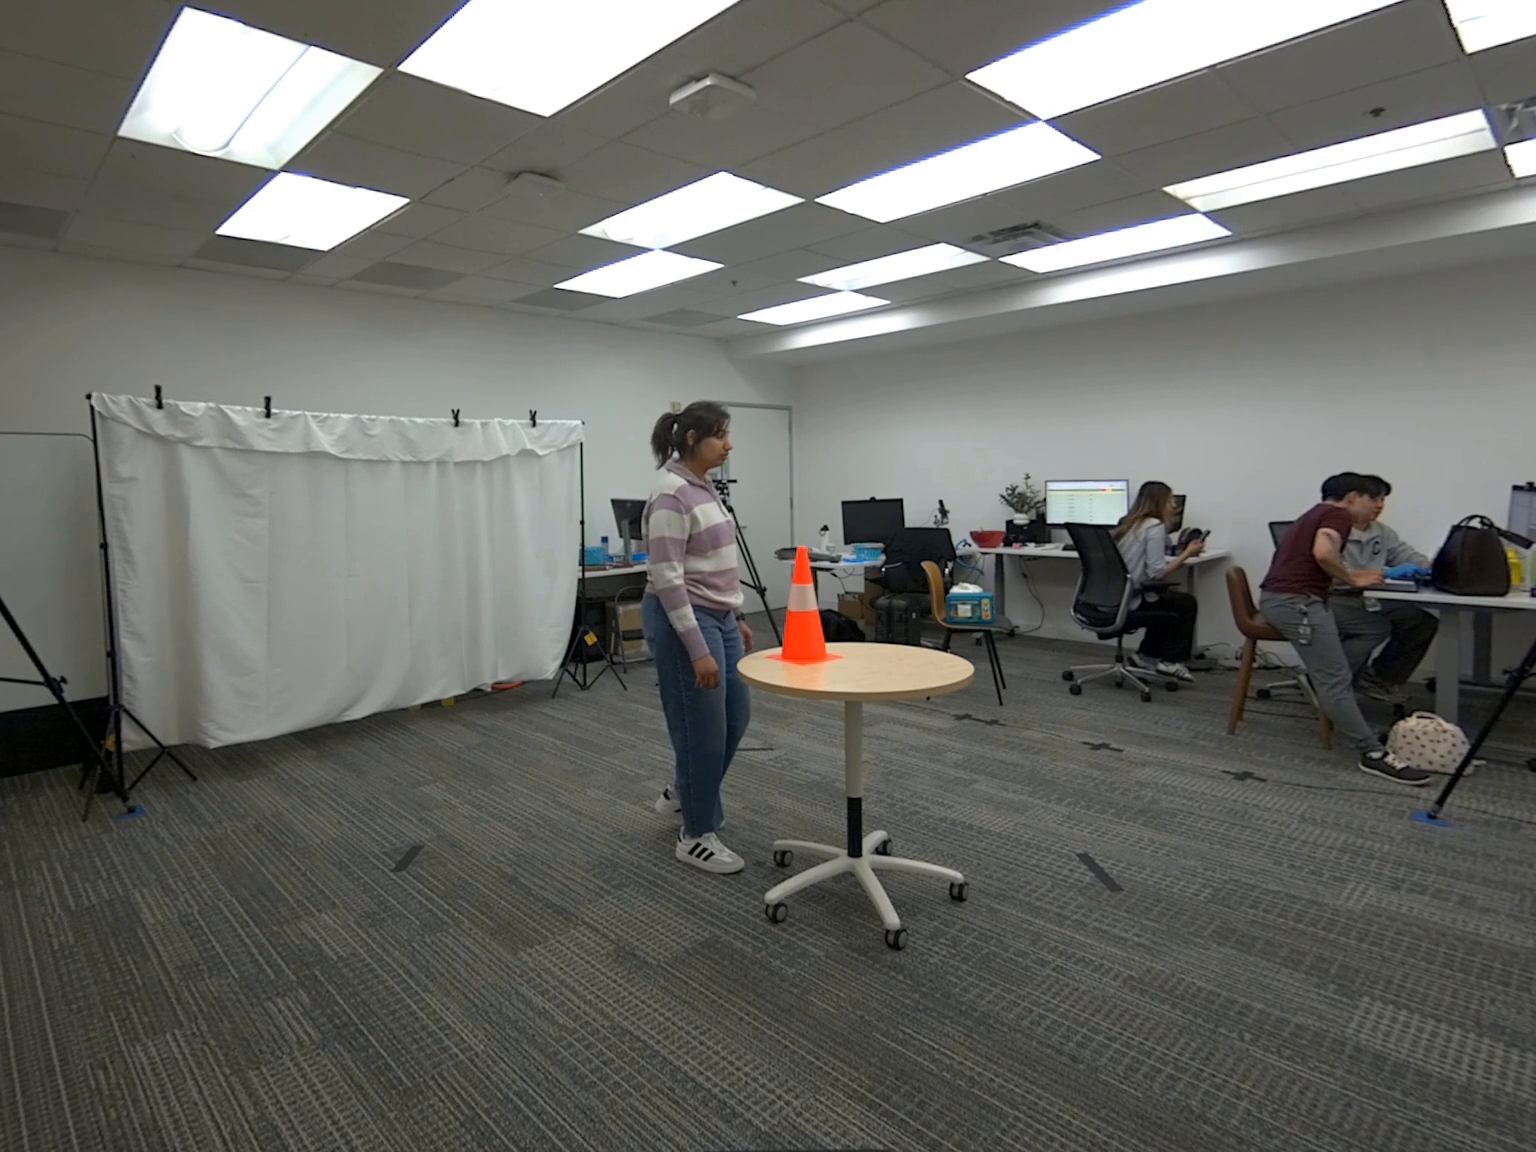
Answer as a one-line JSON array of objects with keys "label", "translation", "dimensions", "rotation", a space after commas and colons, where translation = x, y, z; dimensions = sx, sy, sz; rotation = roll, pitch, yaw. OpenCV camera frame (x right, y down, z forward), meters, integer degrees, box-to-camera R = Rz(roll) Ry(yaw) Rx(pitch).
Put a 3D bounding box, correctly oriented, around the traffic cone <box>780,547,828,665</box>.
[{"label": "traffic cone", "translation": [0.113, 0.091, 2.930], "dimensions": [0.211, 0.383, 0.198], "rotation": [2, 3, 44]}]
